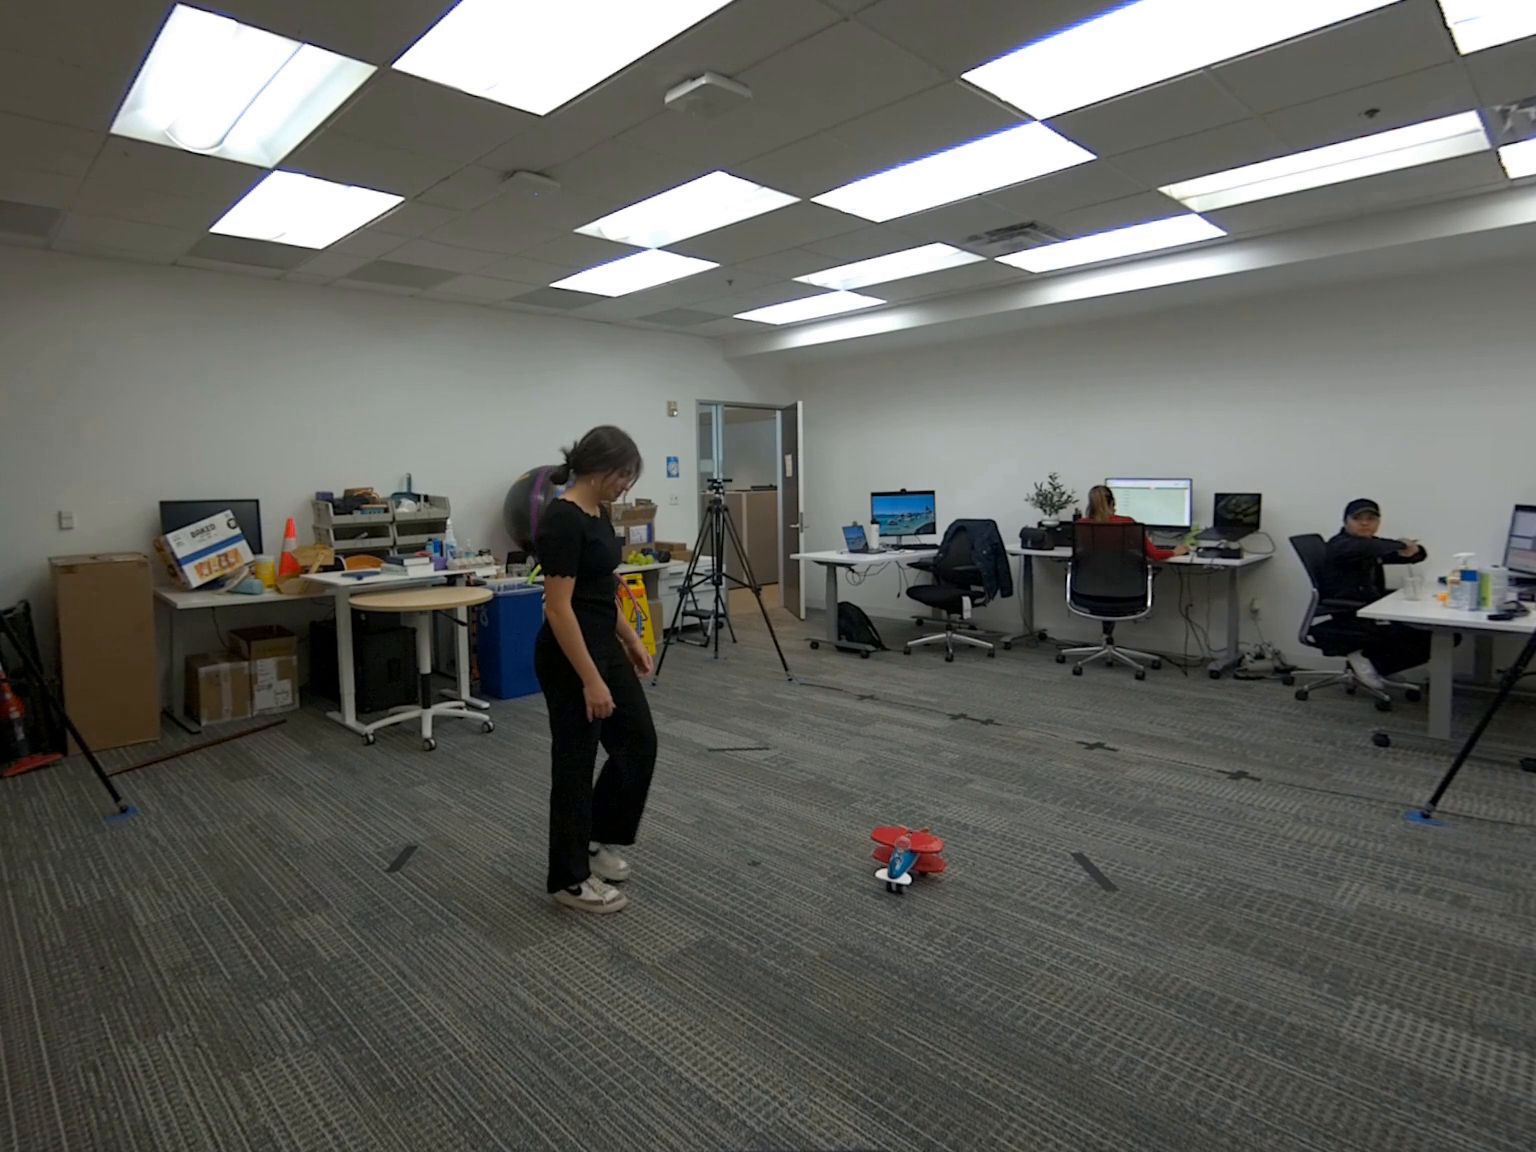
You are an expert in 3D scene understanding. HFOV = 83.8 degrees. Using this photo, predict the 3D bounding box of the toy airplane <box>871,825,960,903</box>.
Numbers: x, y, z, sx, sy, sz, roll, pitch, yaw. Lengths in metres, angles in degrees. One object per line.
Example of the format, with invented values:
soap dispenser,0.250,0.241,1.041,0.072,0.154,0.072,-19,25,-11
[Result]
toy airplane,0.498,0.981,2.938,0.251,0.156,0.259,-1,4,1
